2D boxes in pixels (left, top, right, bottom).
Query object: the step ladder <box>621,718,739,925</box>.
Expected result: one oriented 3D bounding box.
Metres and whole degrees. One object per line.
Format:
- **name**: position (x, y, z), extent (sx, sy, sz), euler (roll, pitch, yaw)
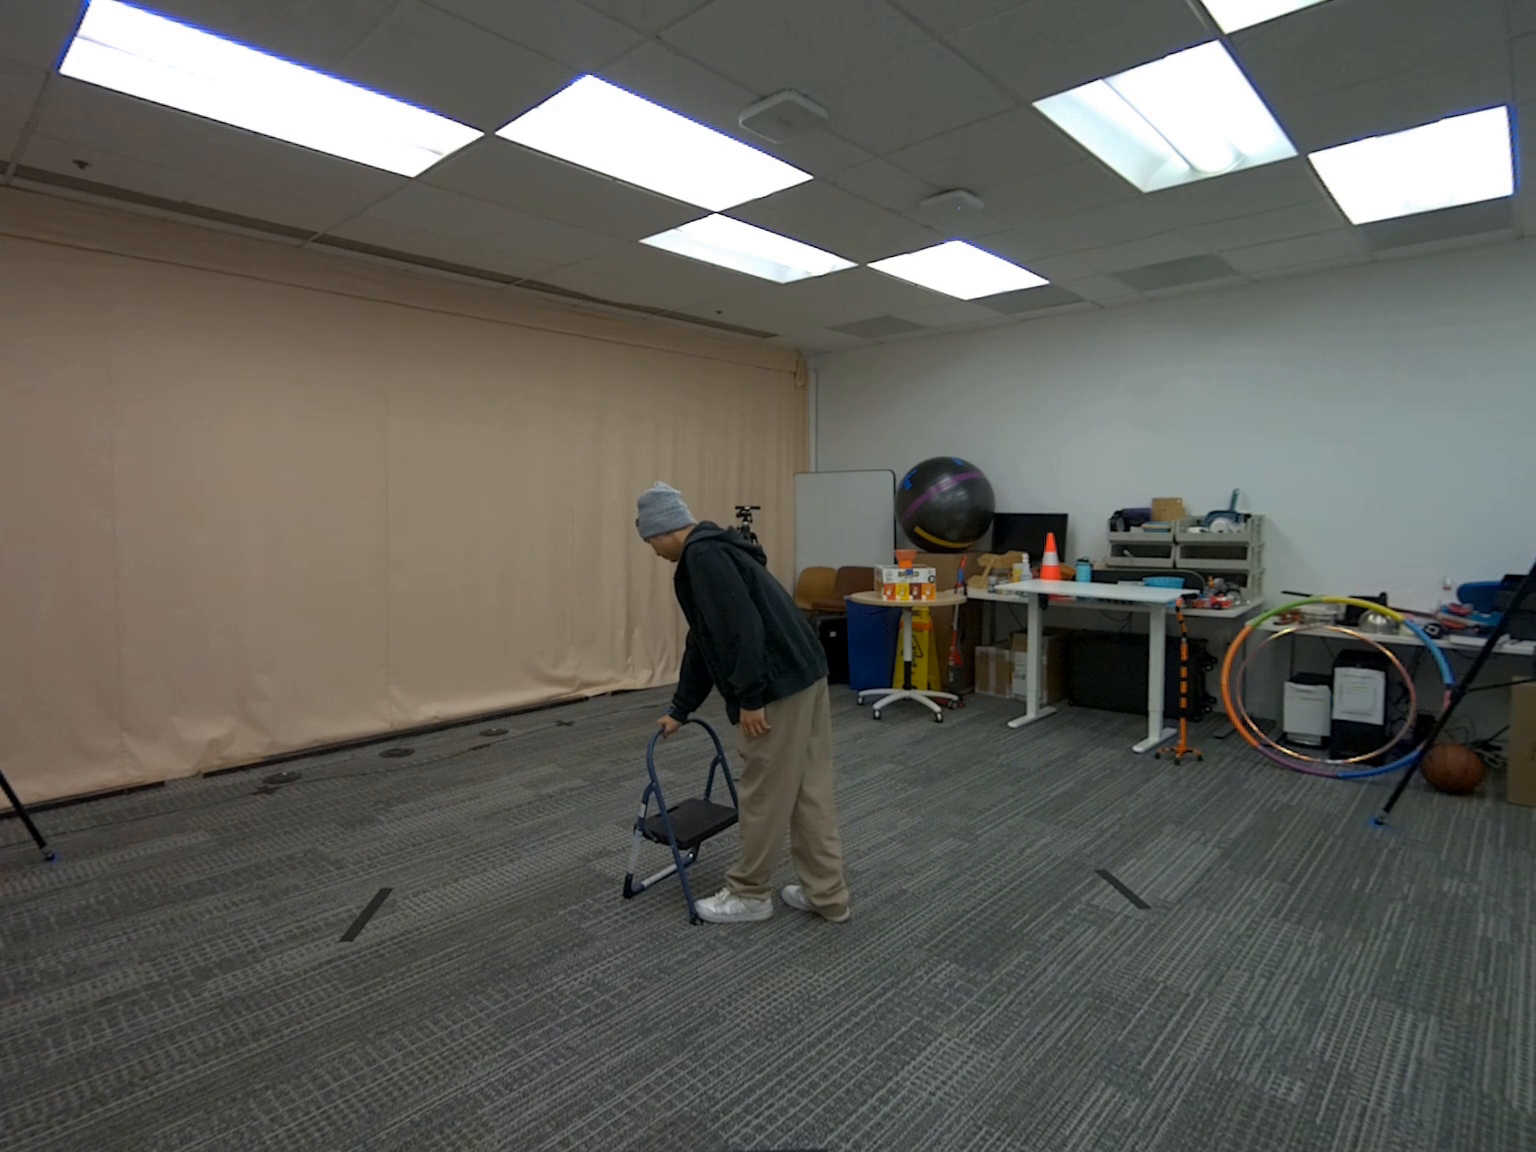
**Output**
- **step ladder**: position (-0.267, 0.837, 3.050), extent (0.360, 0.605, 0.418), euler (2, 4, 34)
